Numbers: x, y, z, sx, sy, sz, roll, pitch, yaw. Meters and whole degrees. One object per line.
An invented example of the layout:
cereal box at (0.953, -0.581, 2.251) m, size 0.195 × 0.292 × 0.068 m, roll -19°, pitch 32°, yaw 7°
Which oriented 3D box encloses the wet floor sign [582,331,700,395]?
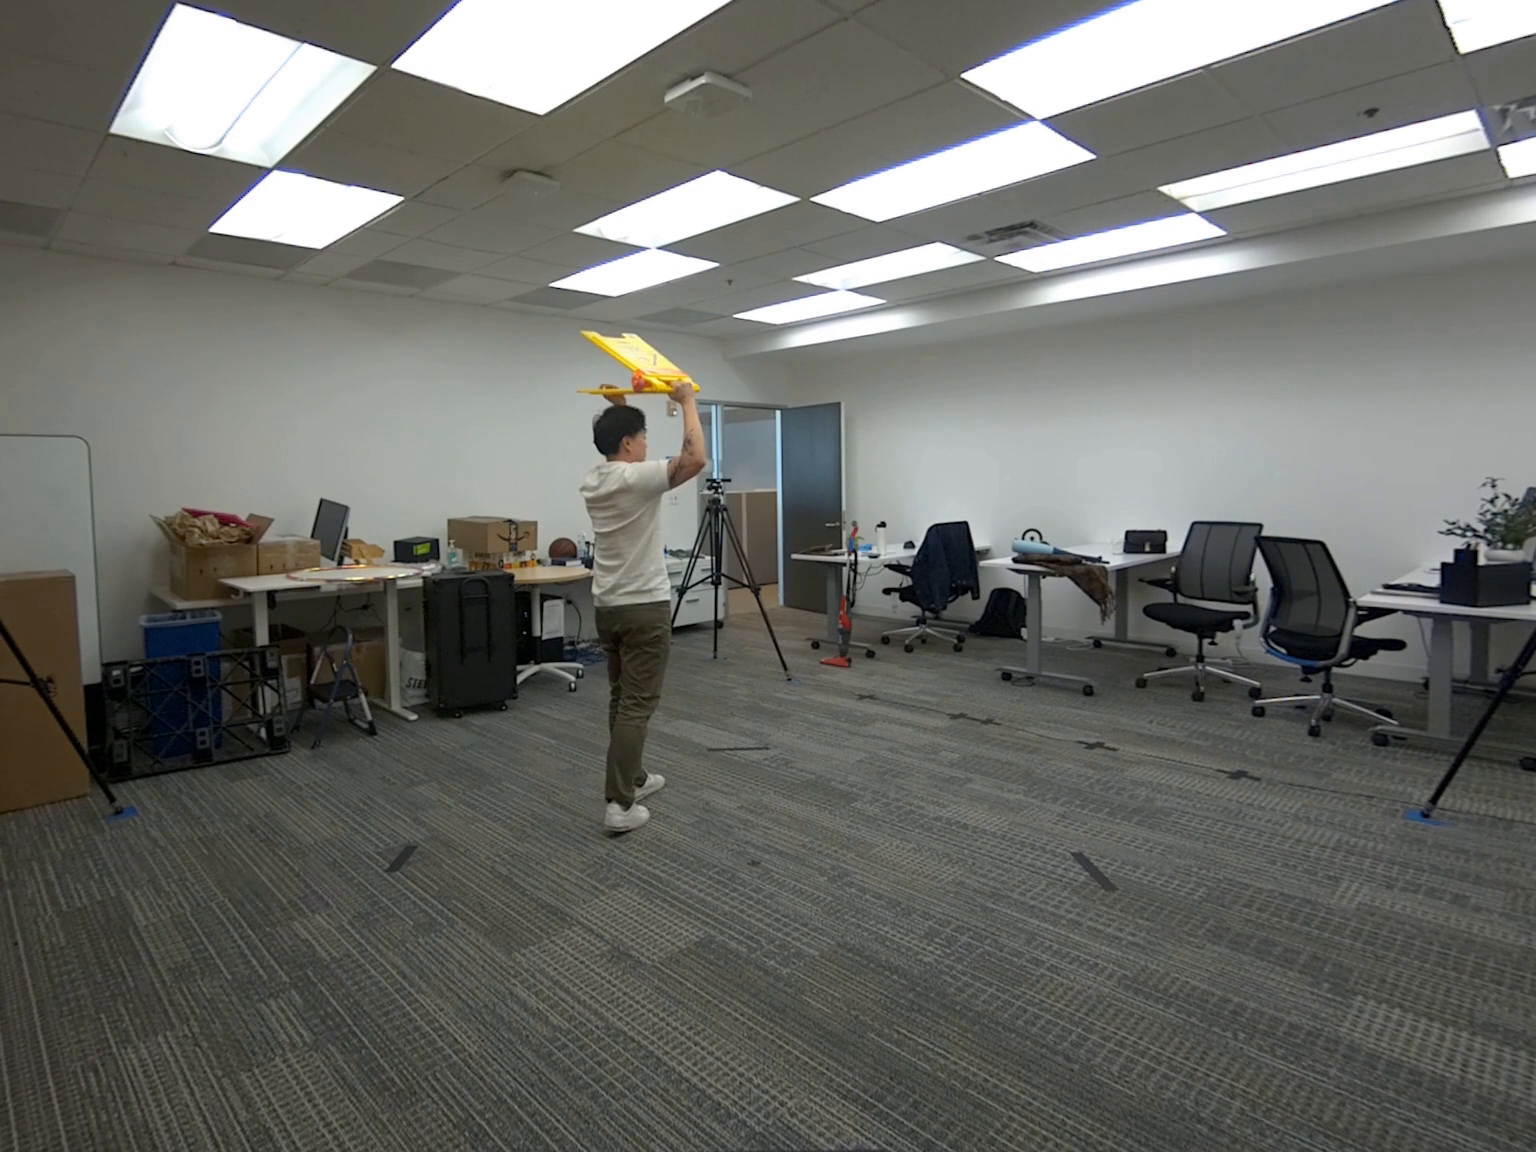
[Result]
wet floor sign at (-0.539, -0.839, 3.601) m, size 0.275 × 0.286 × 0.671 m, roll -6°, pitch 23°, yaw -35°
